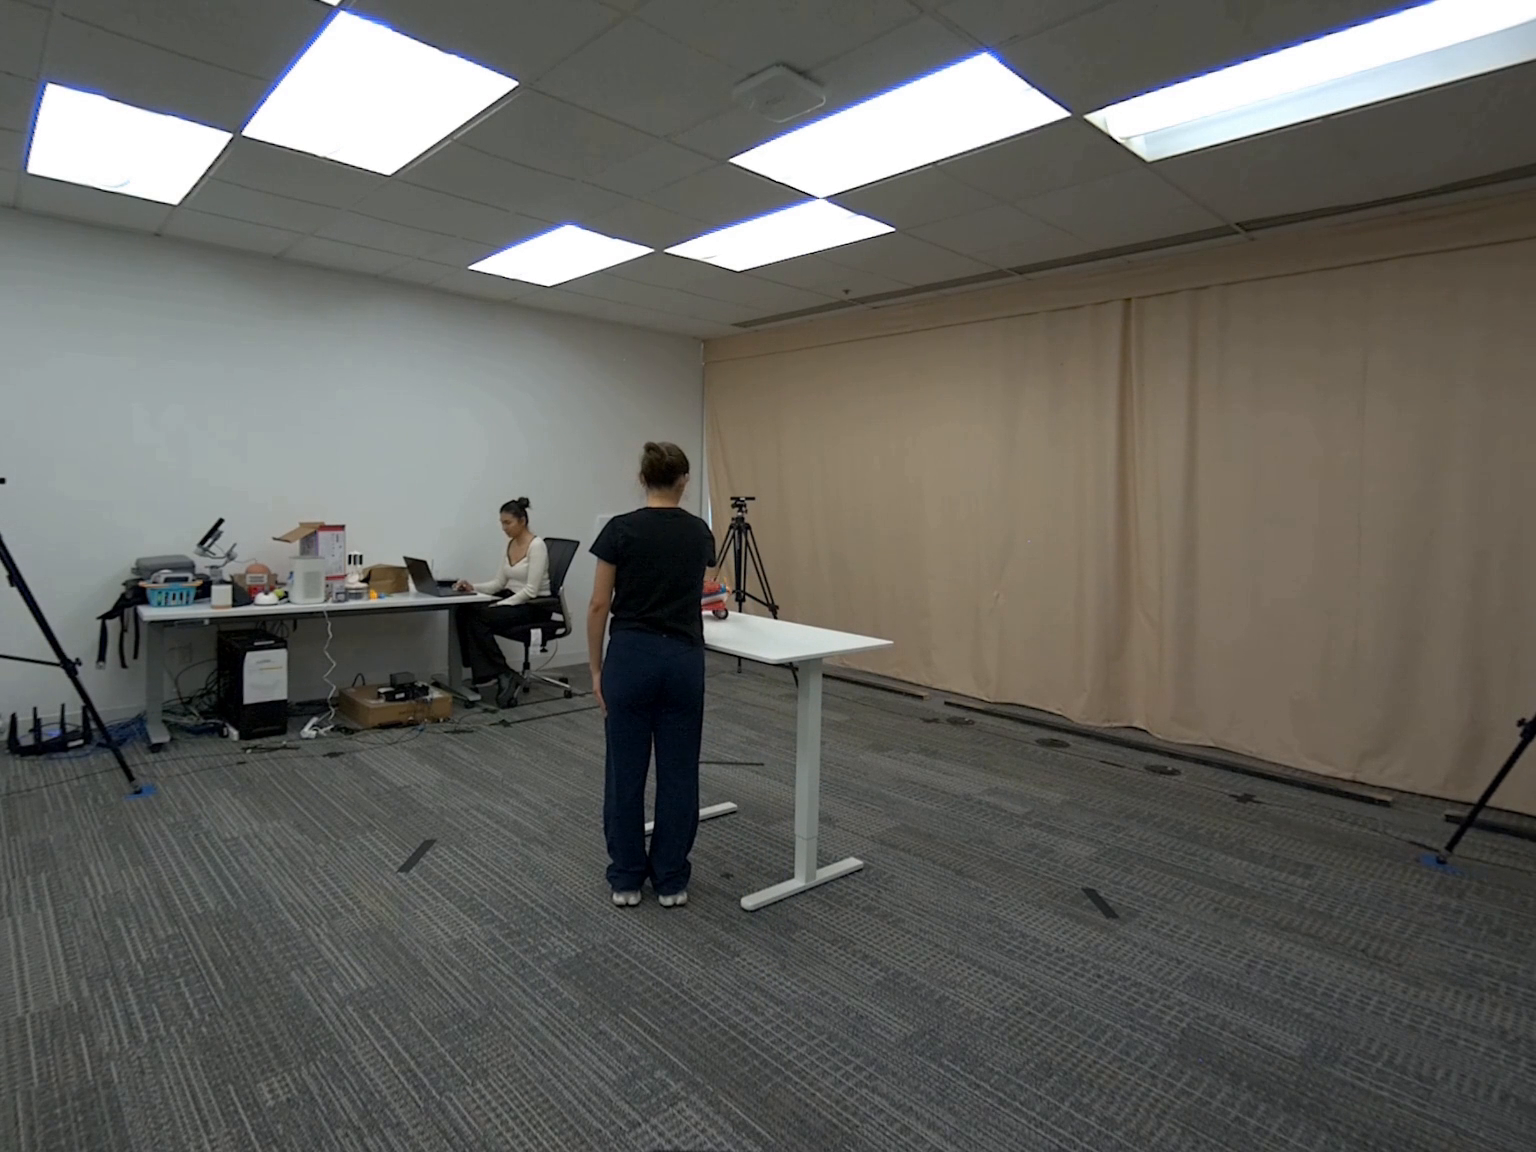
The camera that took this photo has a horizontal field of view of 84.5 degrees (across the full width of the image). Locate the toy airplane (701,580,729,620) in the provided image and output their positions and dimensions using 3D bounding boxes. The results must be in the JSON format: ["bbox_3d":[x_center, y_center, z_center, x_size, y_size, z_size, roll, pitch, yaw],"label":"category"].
[{"bbox_3d":[-0.284,0.107,3.540,0.253,0.156,0.257,-1,5,-41],"label":"toy airplane"}]
